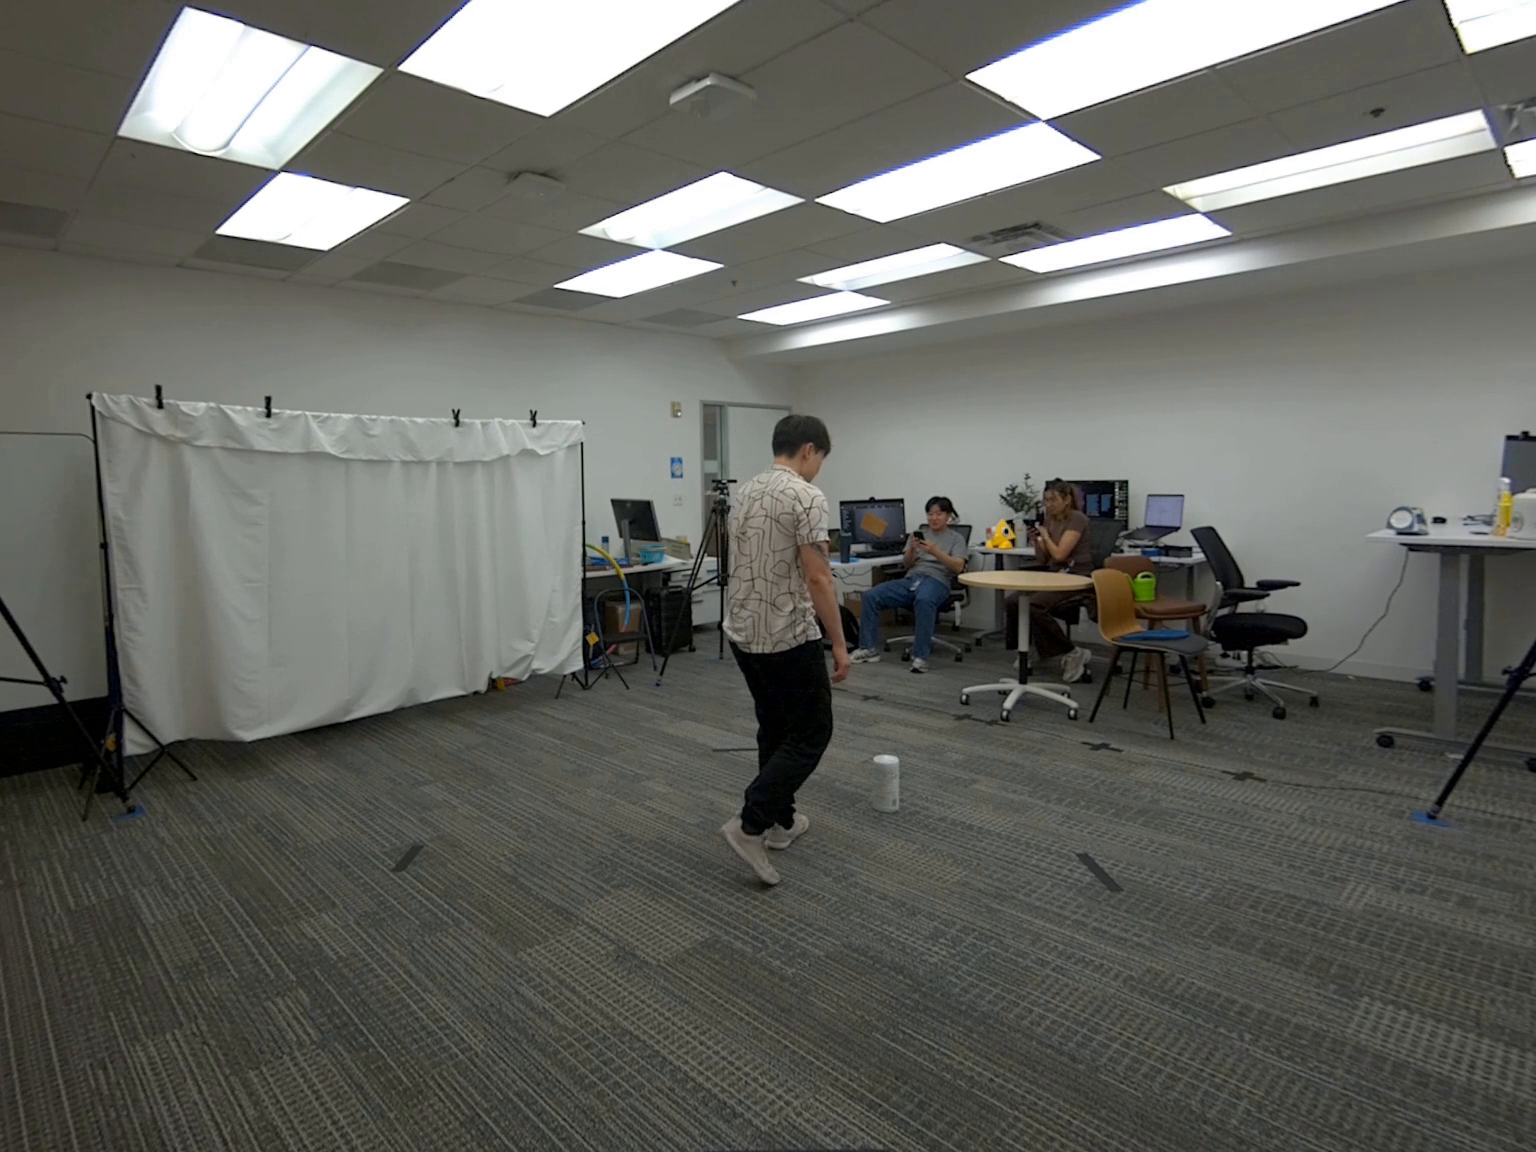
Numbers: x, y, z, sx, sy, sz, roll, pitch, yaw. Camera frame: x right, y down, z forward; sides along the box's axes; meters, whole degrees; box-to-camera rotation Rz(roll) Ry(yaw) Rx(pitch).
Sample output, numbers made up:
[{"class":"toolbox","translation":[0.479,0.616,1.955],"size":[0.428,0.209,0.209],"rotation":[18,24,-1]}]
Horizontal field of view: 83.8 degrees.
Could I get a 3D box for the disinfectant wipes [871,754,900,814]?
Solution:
[{"class":"disinfectant wipes","translation":[0.506,0.881,3.602],"size":[0.118,0.217,0.118],"rotation":[-3,3,-2]}]
